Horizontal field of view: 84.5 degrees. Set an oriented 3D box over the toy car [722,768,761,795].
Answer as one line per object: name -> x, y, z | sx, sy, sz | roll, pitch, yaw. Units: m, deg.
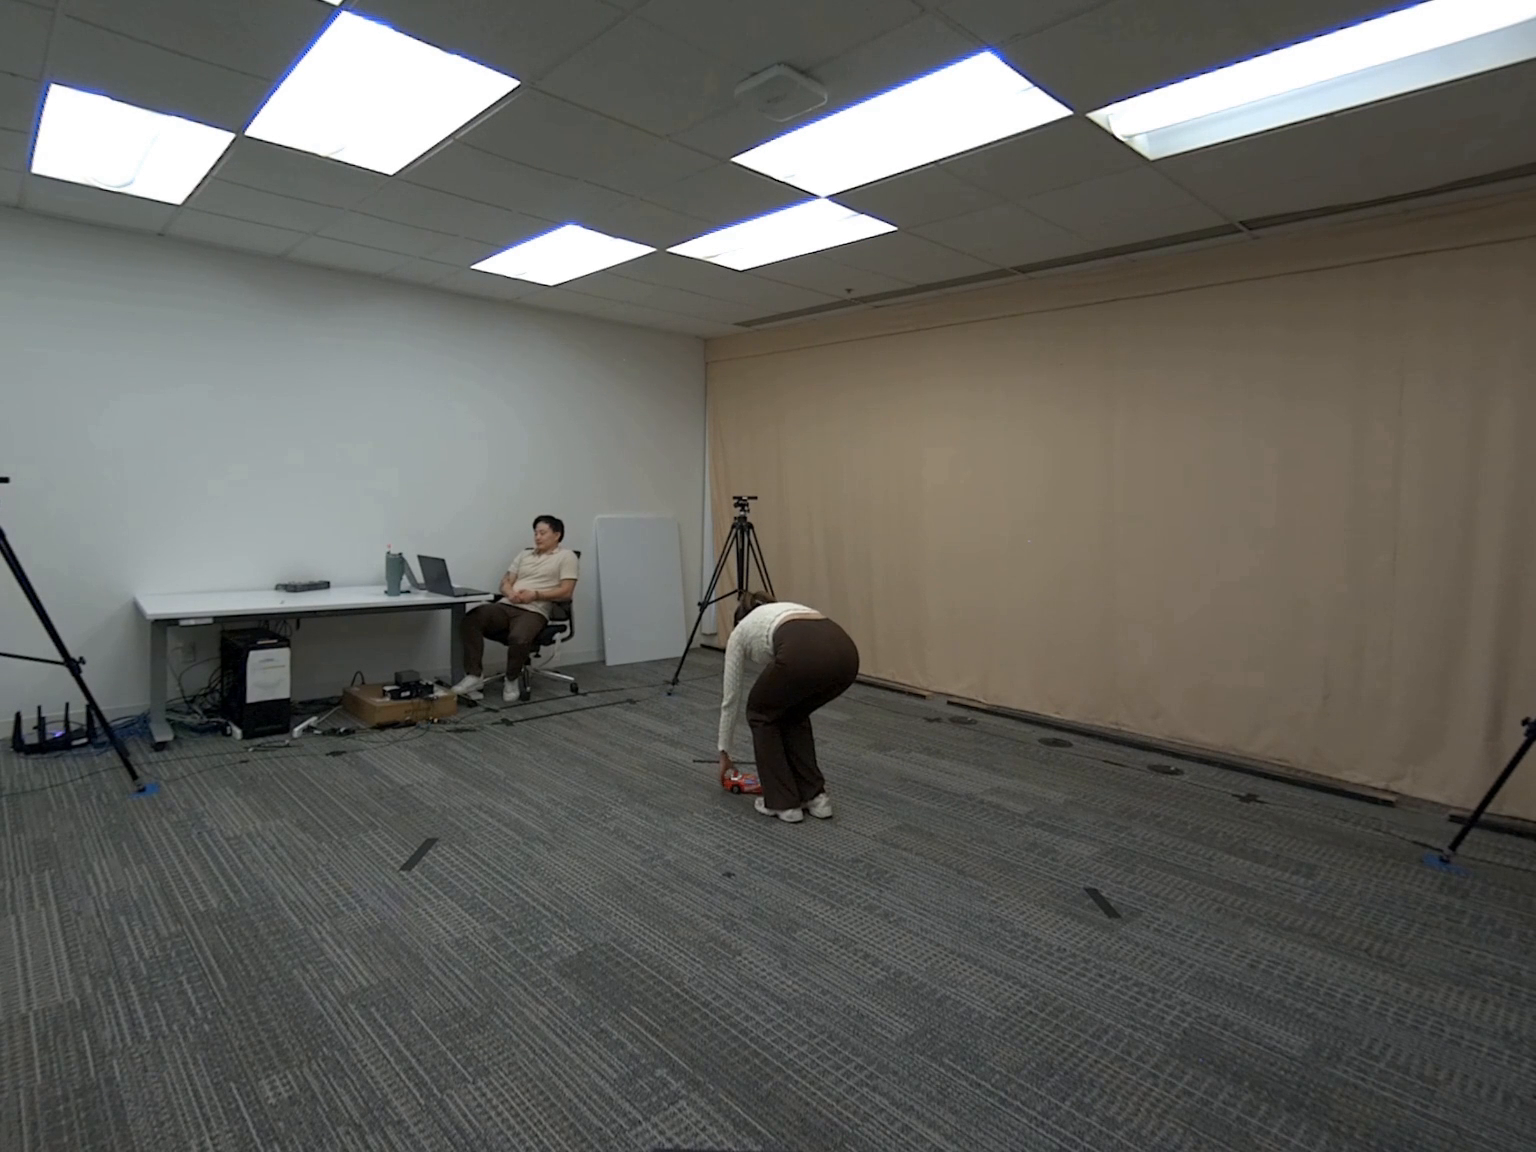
toy car -> -0.104, 0.986, 4.017 | 0.256, 0.083, 0.130 | 14, 5, 6
